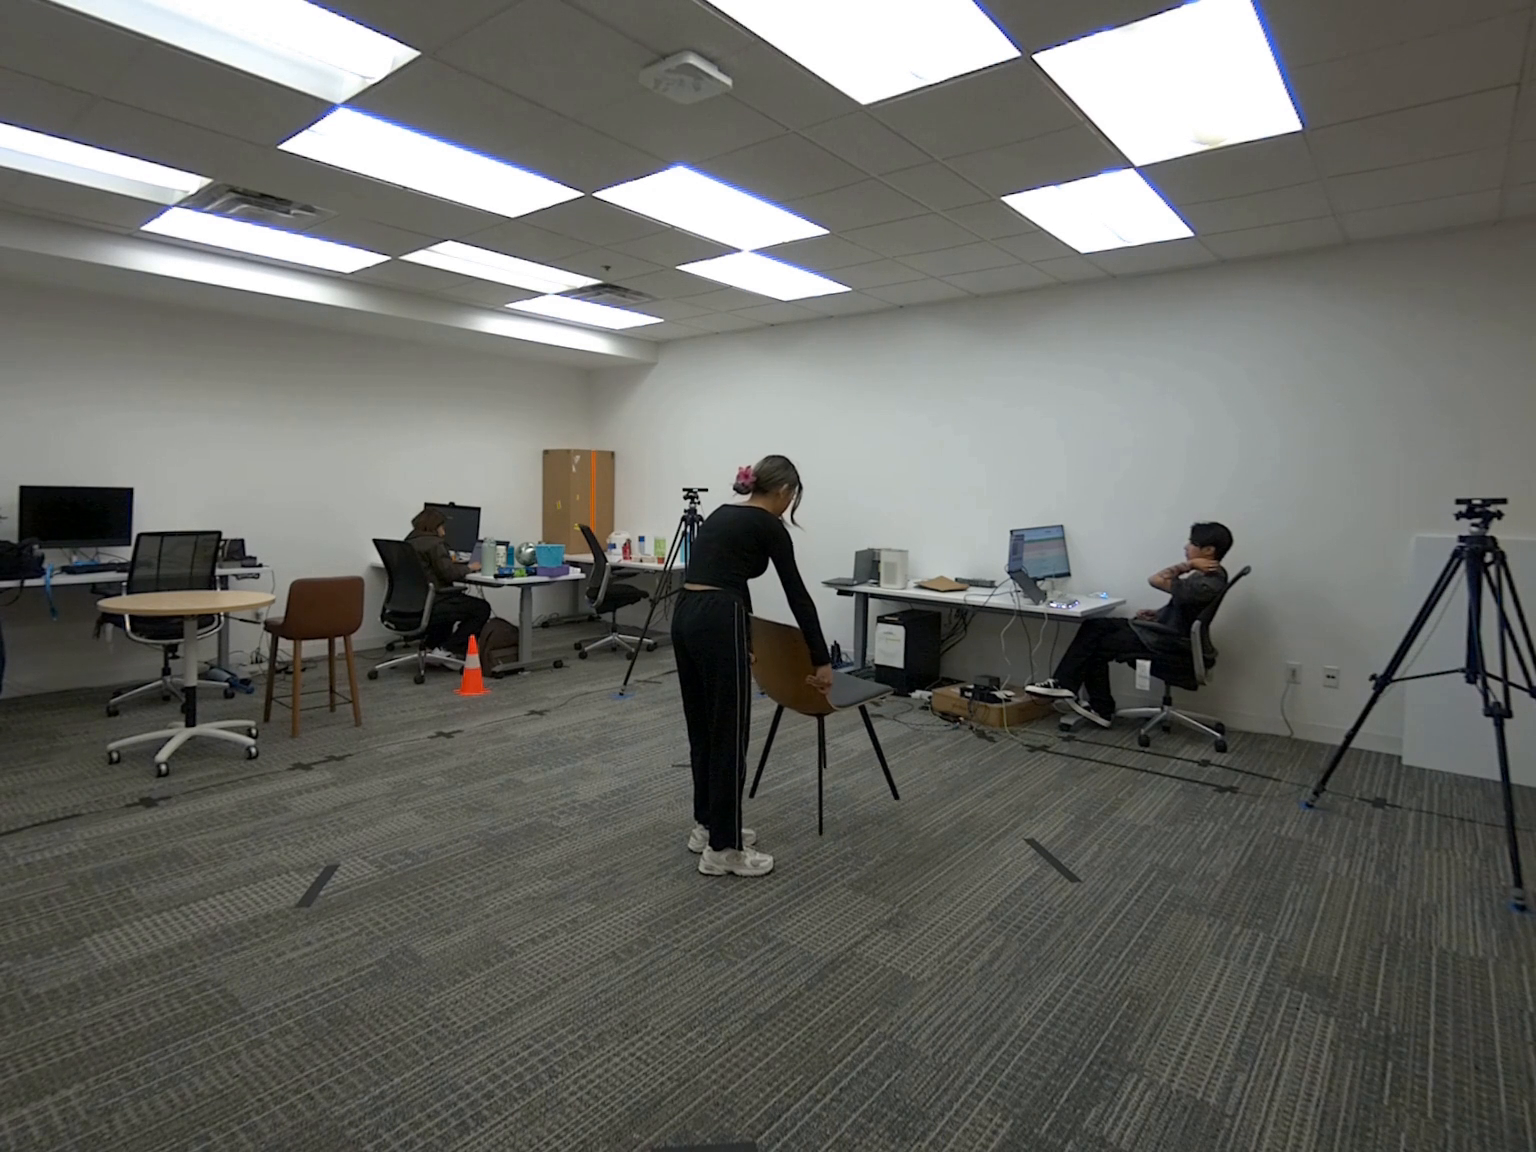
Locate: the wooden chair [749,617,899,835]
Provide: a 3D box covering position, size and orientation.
[{"bbox_3d":[0.208,0.531,3.541,0.511,0.867,0.495,-14,14,-36],"label":"wooden chair"}]
